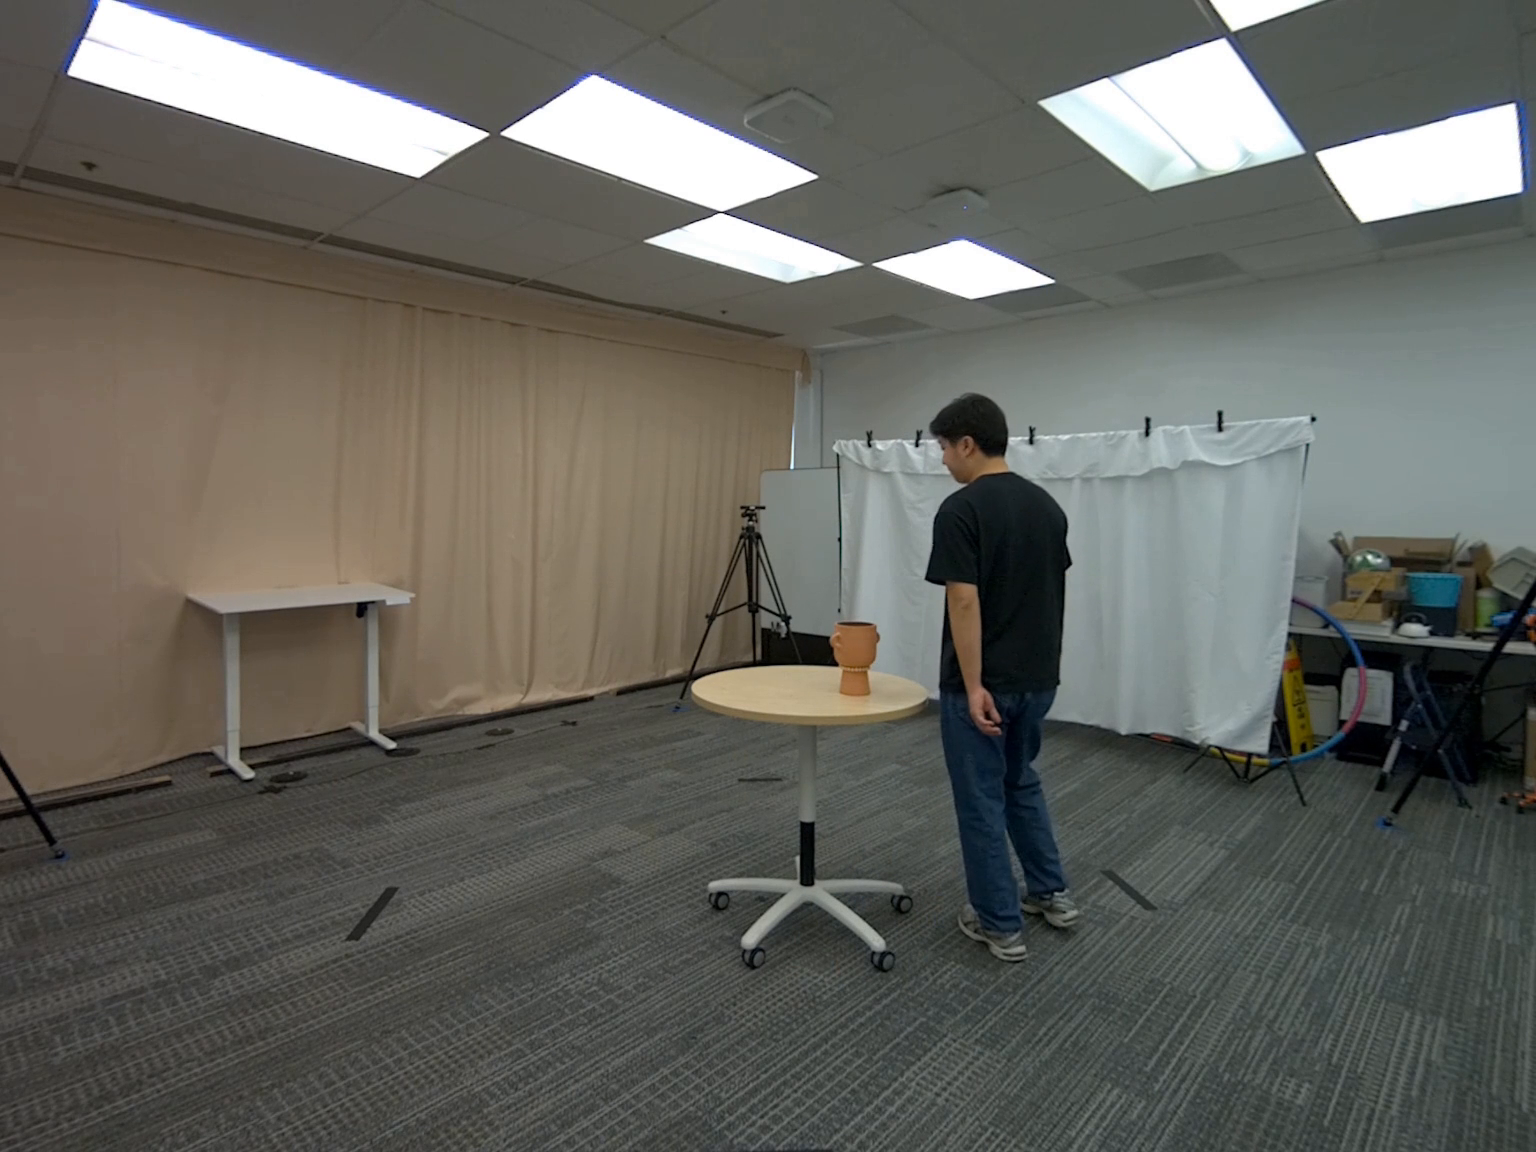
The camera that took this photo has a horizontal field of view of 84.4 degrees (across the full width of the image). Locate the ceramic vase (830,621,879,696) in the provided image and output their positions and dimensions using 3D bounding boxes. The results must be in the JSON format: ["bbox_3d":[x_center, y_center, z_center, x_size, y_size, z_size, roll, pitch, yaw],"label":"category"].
[{"bbox_3d":[0.292,0.266,2.676,0.160,0.219,0.133,0,2,8],"label":"ceramic vase"}]
